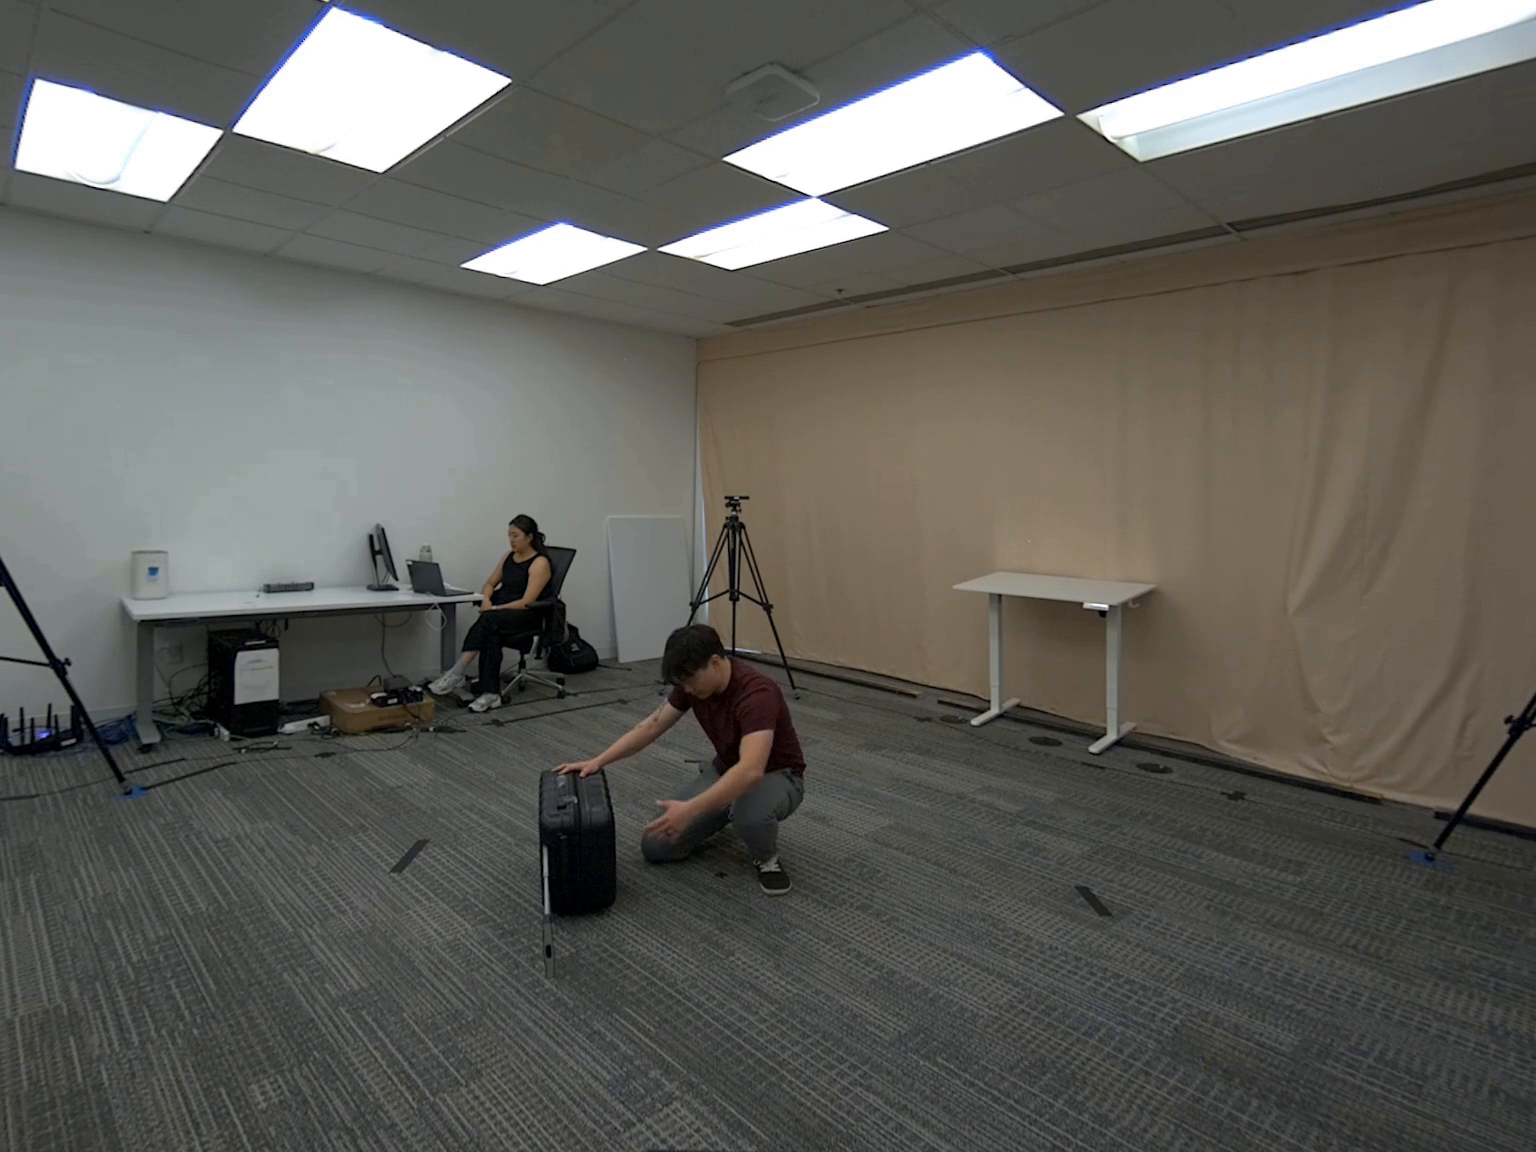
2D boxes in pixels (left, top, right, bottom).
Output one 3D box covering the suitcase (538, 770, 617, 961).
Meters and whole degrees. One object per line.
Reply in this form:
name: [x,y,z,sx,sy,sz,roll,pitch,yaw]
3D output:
suitcase: [-0.618,0.938,2.764,0.254,0.382,0.994,-1,6,-16]
